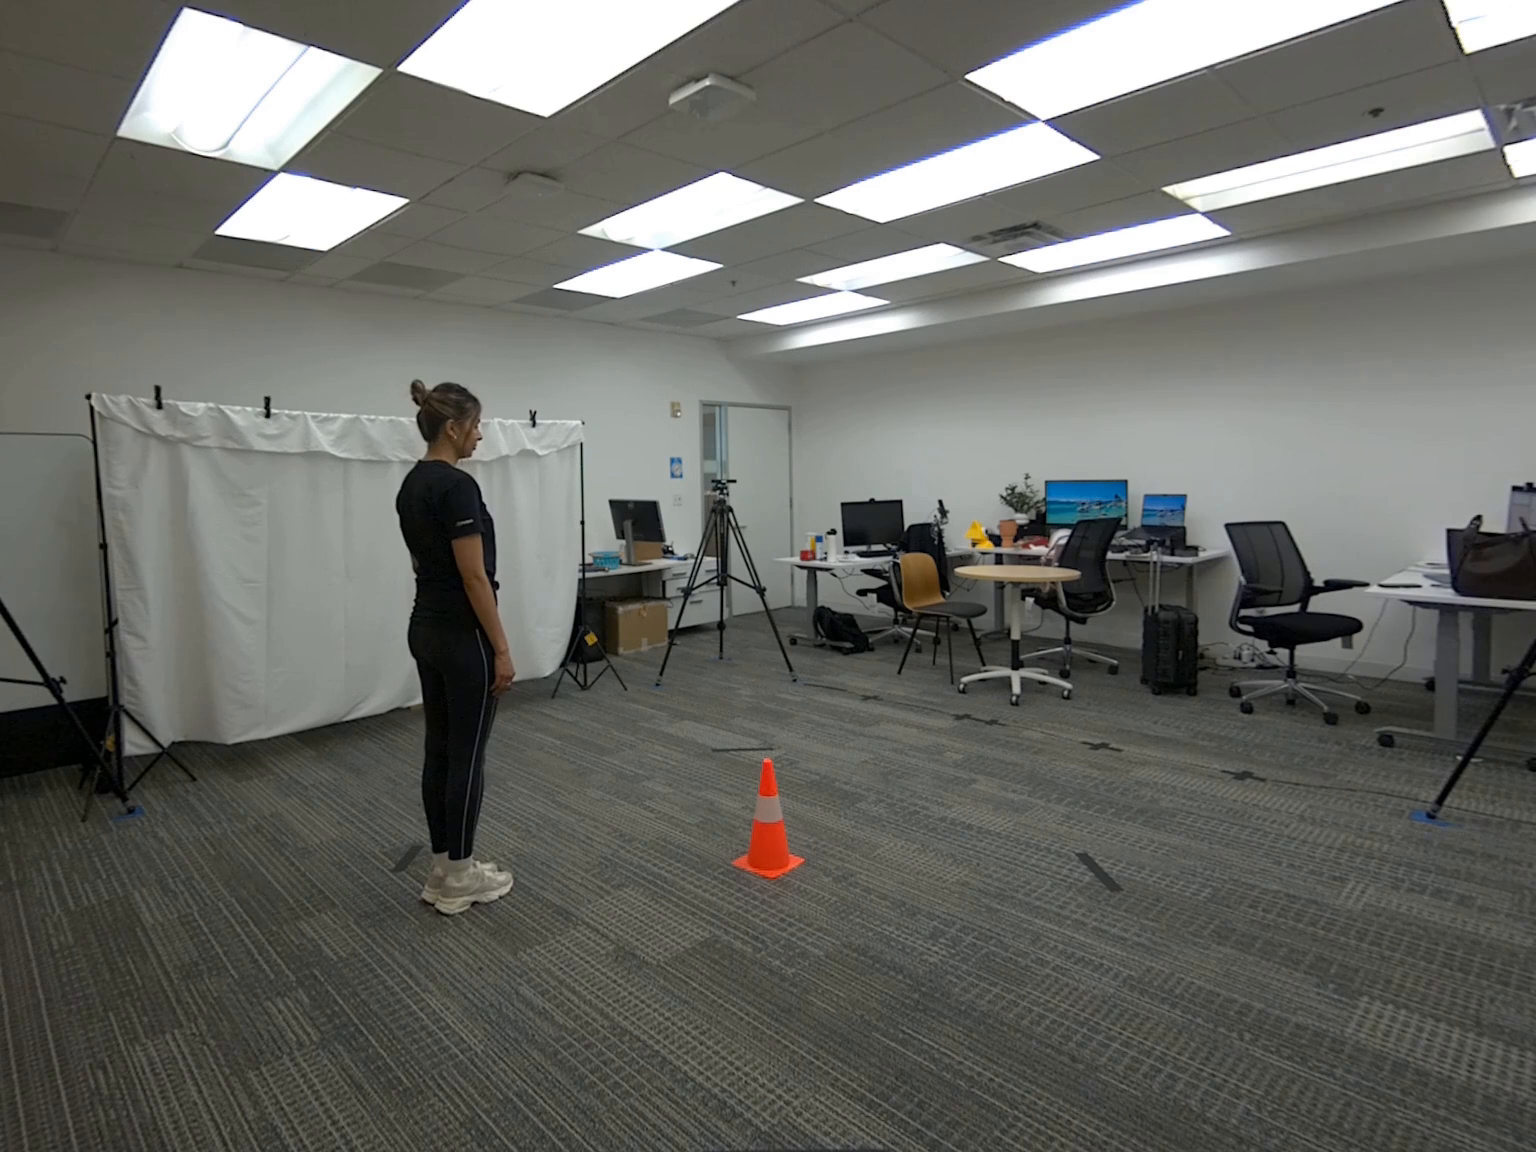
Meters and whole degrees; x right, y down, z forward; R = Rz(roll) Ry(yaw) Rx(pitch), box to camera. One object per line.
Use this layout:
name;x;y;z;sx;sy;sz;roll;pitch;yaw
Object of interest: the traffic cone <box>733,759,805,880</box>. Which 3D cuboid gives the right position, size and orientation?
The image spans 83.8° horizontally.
traffic cone;0.005;0.864;3.105;0.211;0.382;0.198;4;7;40
